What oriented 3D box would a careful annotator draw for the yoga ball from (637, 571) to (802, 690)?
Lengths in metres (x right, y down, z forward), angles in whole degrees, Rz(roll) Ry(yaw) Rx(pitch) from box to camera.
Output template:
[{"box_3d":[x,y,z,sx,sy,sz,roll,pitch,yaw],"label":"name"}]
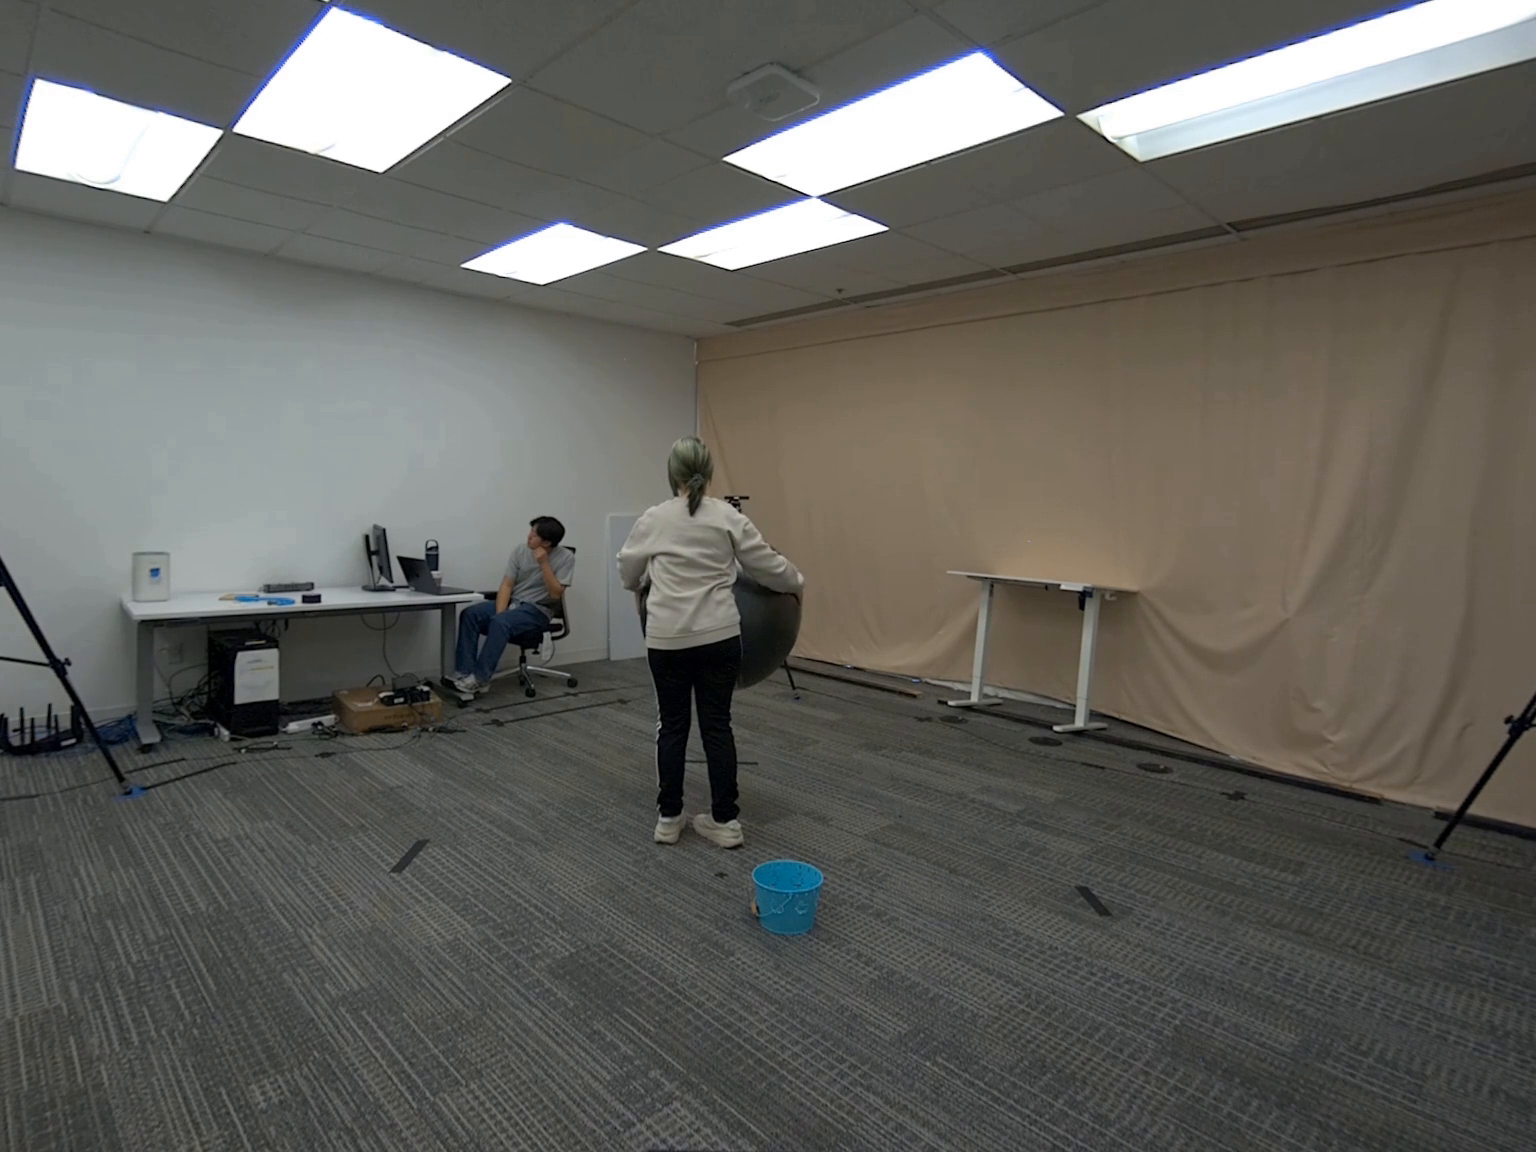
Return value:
[{"box_3d":[-0.221,0.158,3.911,0.757,0.756,0.761,1,4,-1],"label":"yoga ball"}]
